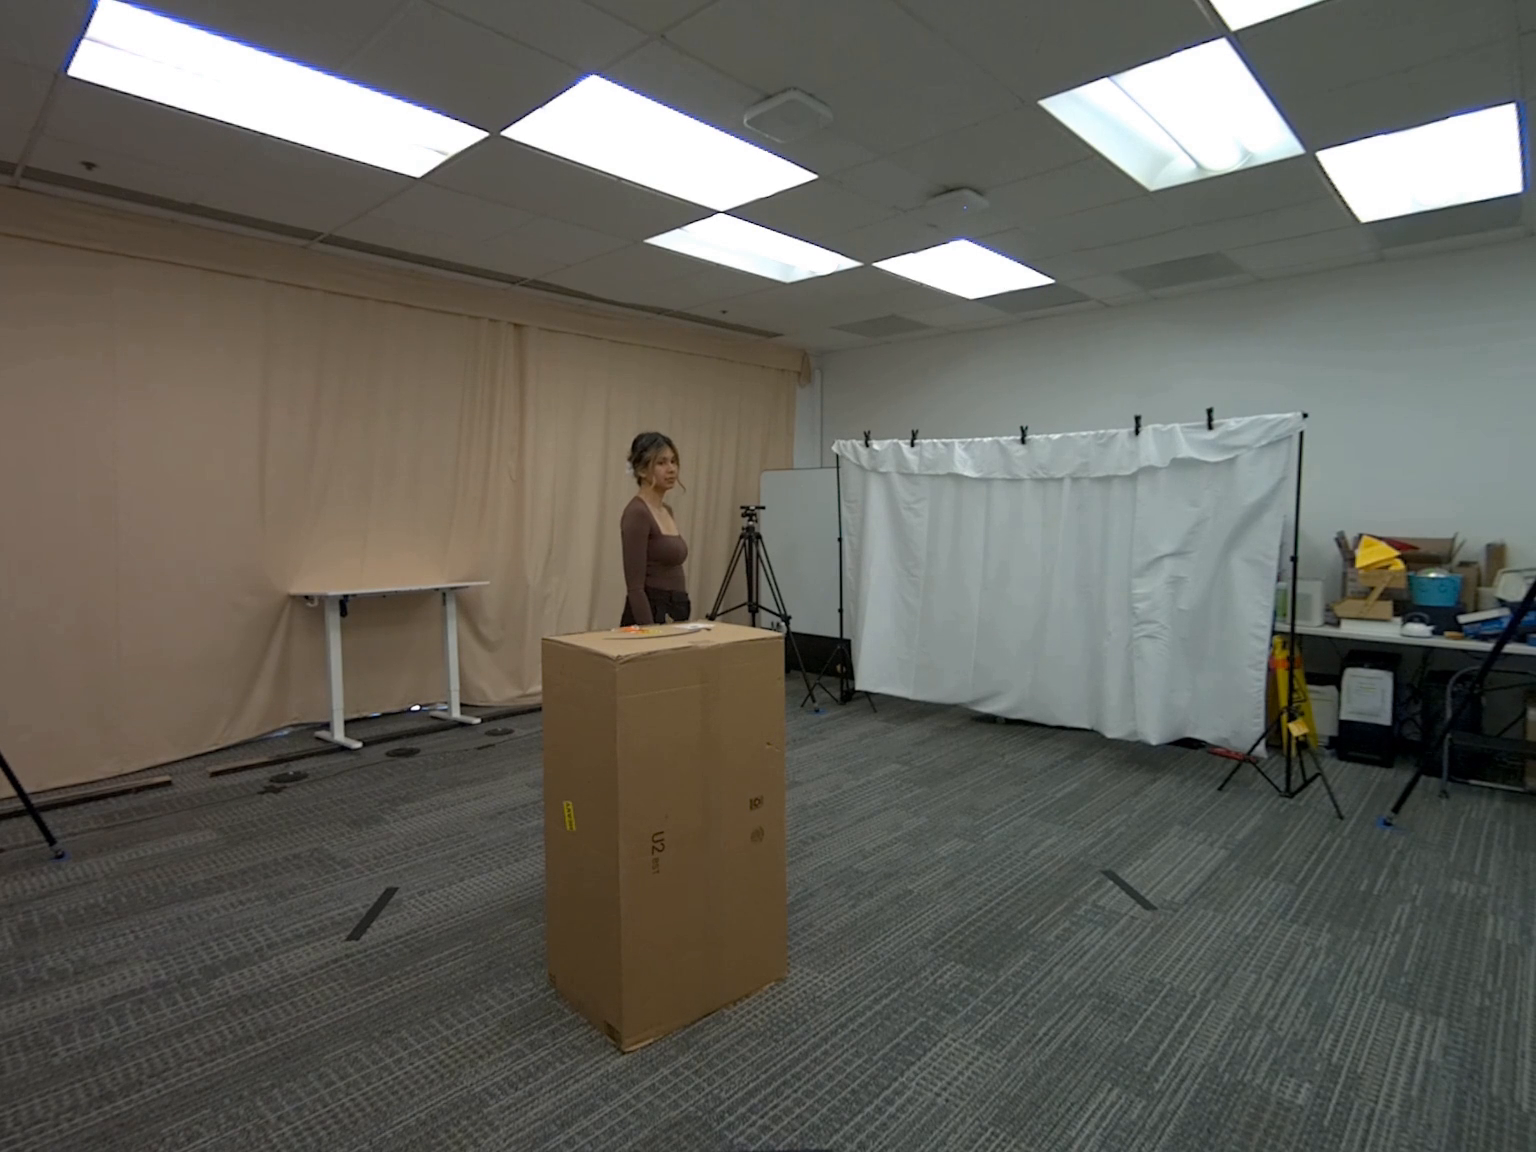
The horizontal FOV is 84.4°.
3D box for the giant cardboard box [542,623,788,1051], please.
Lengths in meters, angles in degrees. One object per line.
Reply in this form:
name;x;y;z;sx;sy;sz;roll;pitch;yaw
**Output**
giant cardboard box;-0.293;0.680;2.453;0.566;1.025;0.461;-3;3;-38
